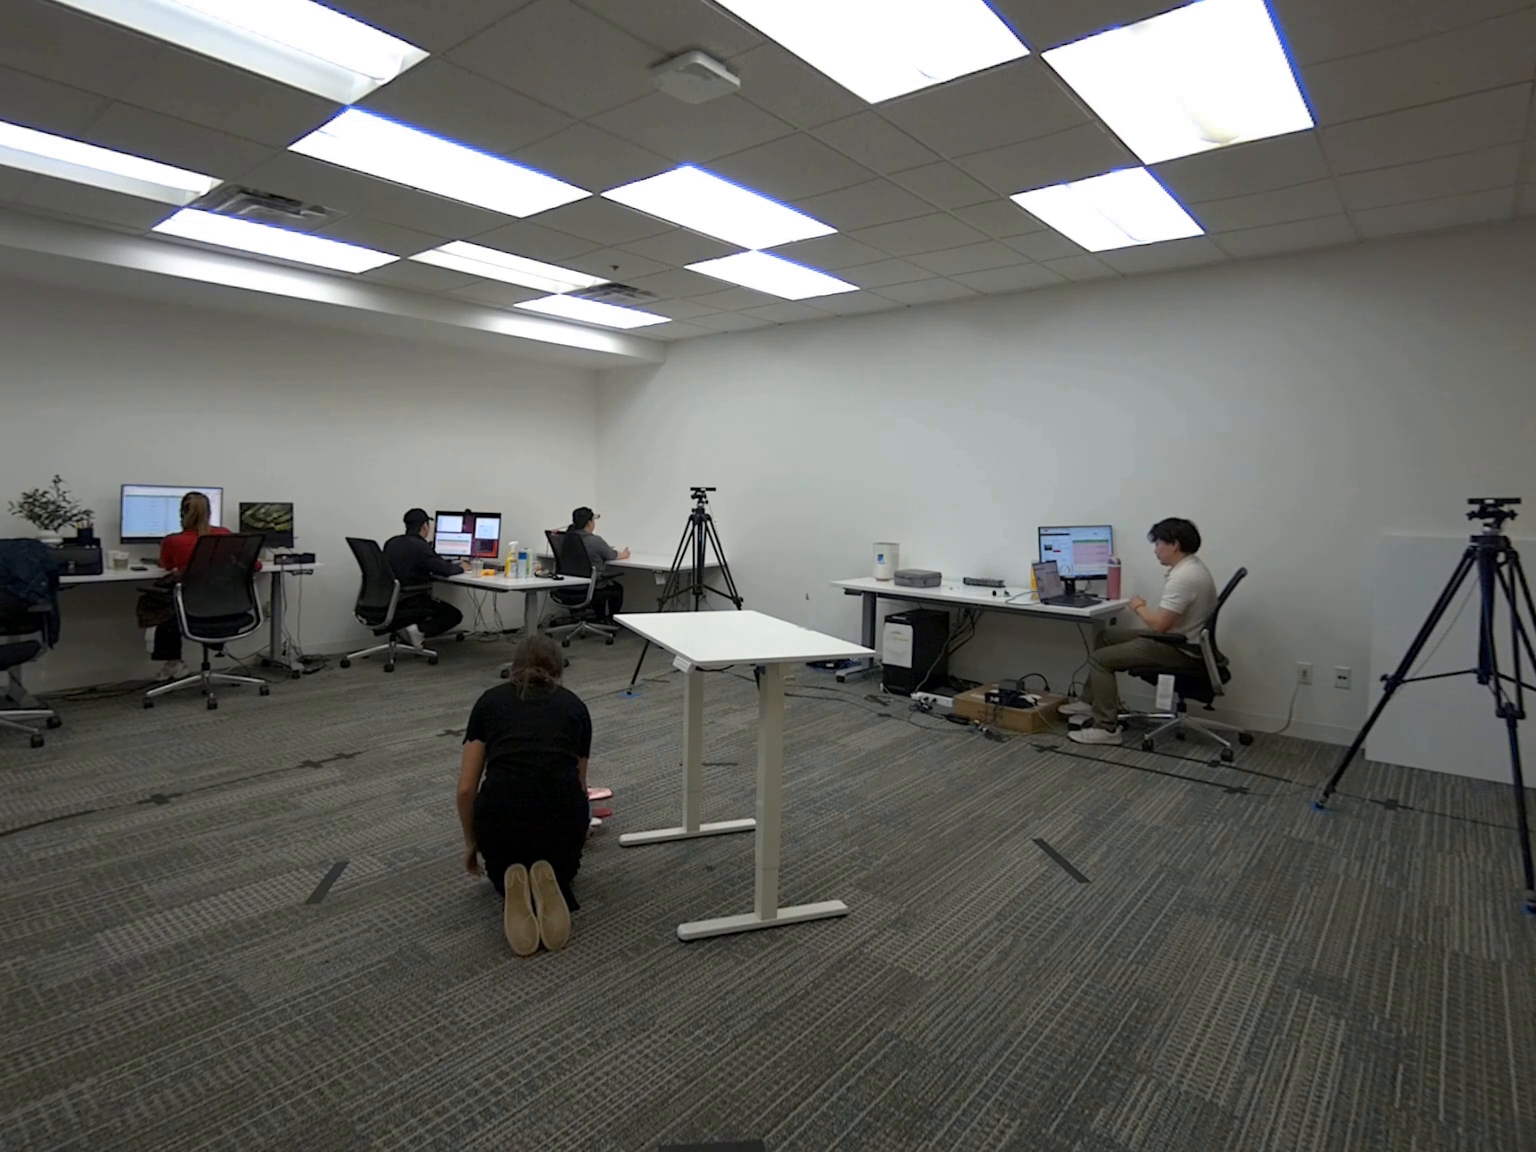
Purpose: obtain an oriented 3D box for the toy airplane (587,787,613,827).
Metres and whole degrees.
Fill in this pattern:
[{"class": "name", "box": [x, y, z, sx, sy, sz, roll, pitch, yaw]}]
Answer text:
[{"class": "toy airplane", "box": [-0.737, 0.941, 3.395, 0.266, 0.157, 0.243, -9, -6, 43]}]
